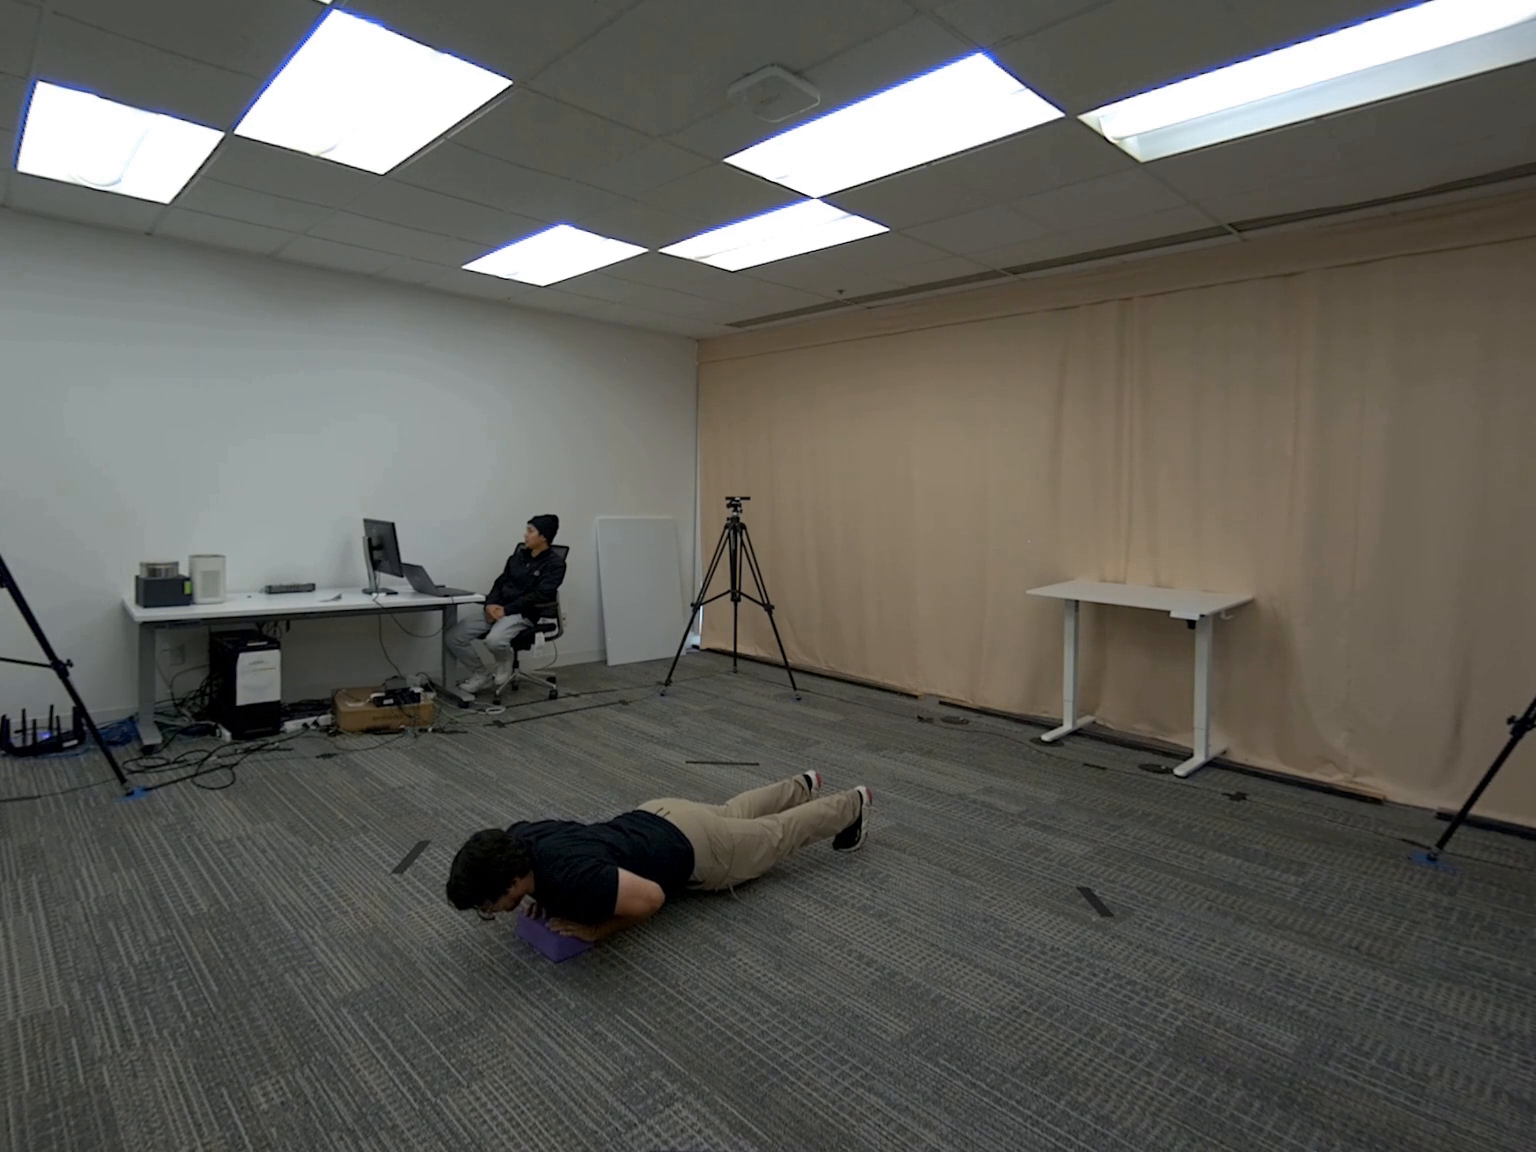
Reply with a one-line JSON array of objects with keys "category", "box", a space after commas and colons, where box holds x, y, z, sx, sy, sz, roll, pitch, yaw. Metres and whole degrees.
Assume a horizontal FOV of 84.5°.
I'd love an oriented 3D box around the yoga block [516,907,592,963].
[{"category": "yoga block", "box": [-0.674, 1.097, 2.632, 0.235, 0.076, 0.145, 4, 2, 44]}]
